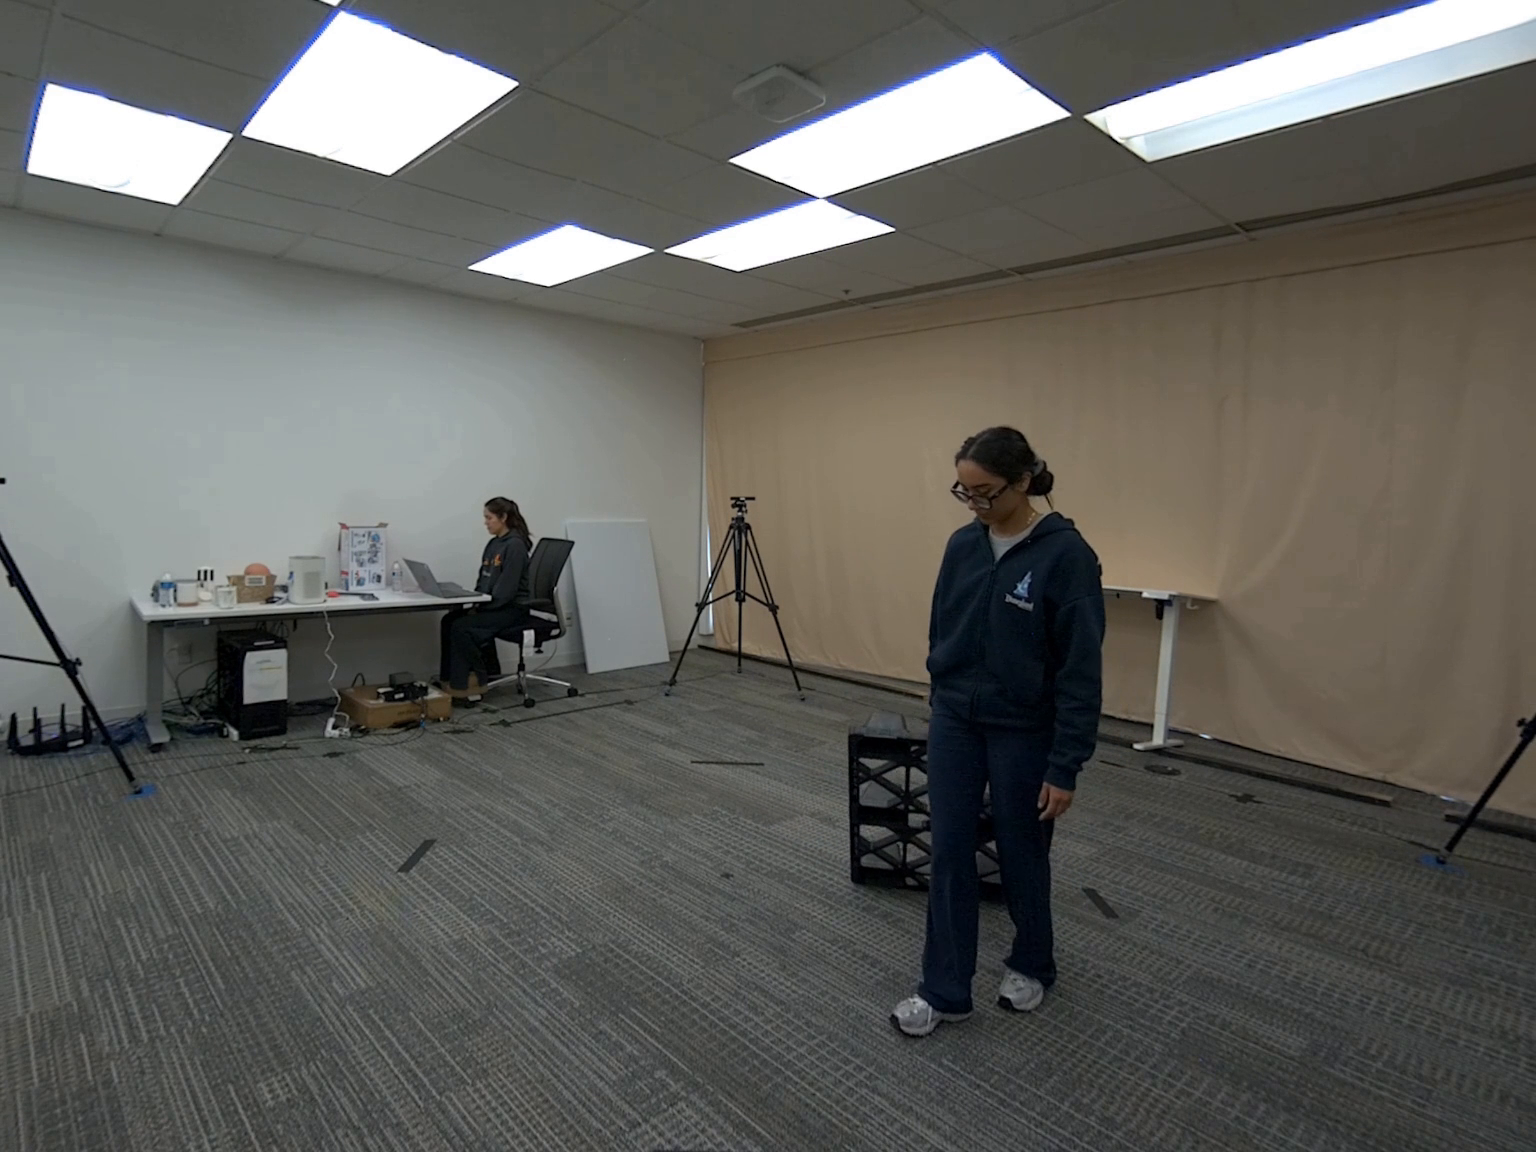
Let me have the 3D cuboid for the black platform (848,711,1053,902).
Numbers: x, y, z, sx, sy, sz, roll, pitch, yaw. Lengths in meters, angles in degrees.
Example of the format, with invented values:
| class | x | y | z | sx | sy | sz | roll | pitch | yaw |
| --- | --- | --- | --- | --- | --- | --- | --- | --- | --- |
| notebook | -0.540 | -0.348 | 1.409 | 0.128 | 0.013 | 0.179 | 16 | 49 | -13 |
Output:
| class | x | y | z | sx | sy | sz | roll | pitch | yaw |
| --- | --- | --- | --- | --- | --- | --- | --- | --- | --- |
| black platform | 0.567 | 0.785 | 2.817 | 0.612 | 0.787 | 0.145 | 4 | 37 | 13 |
